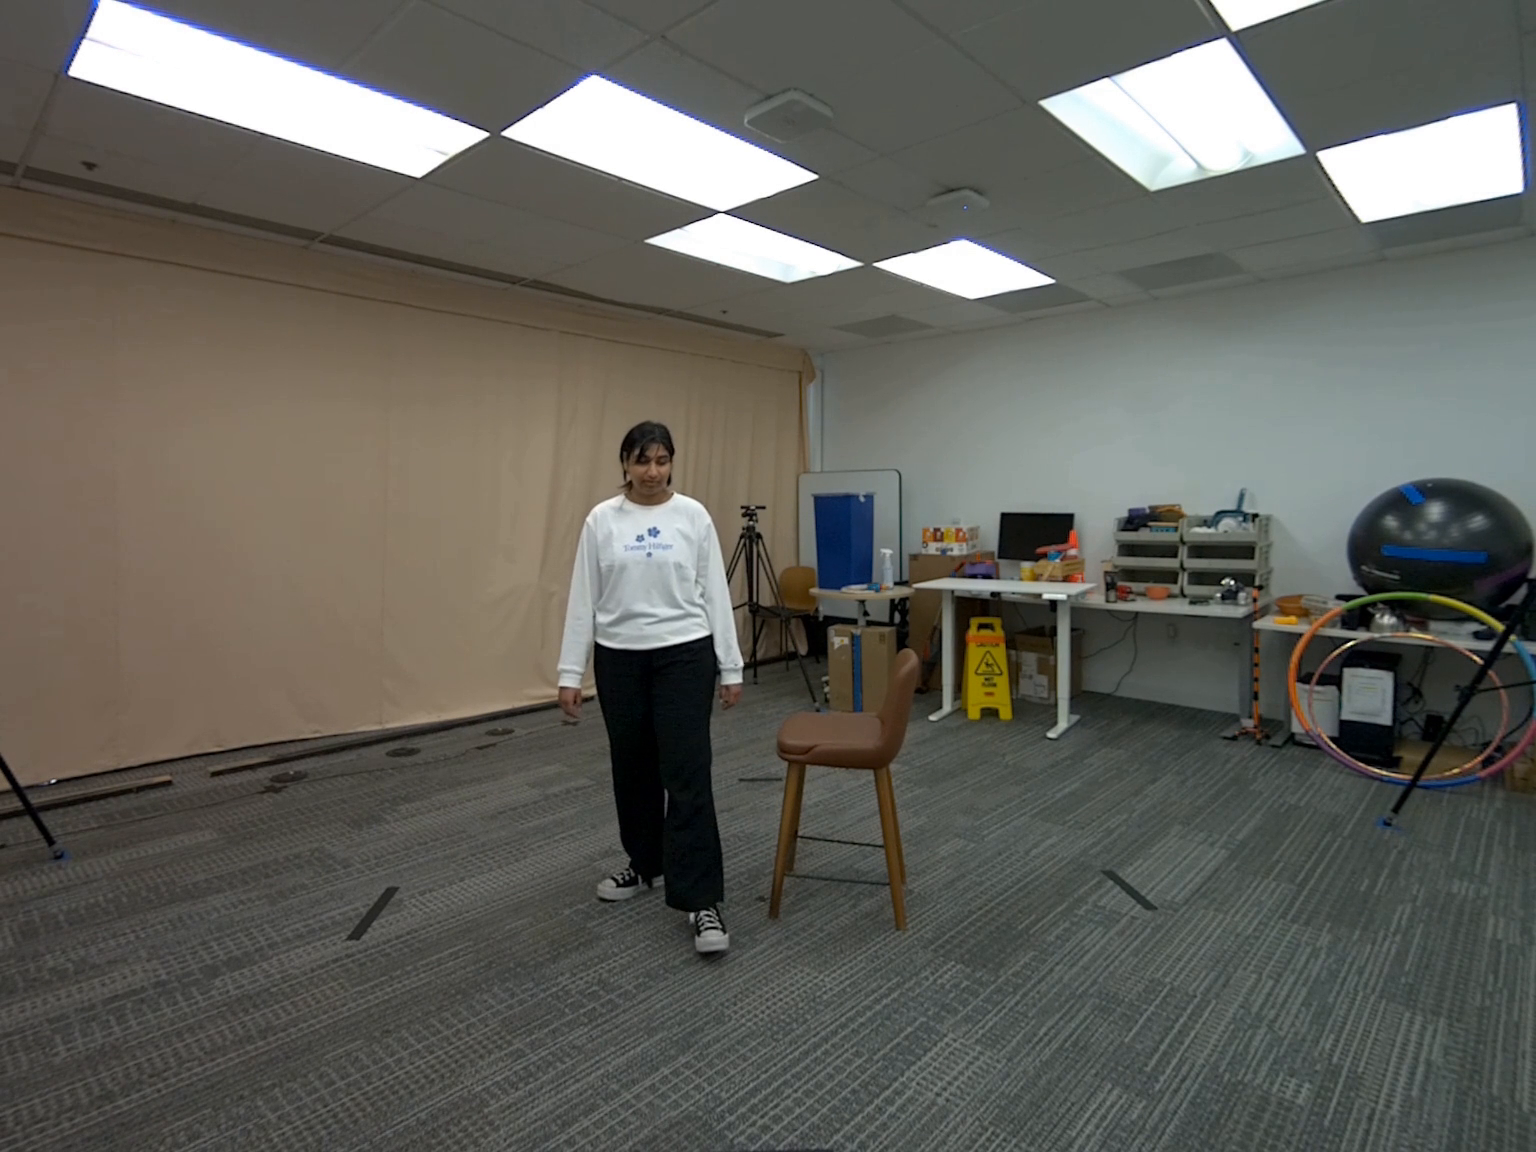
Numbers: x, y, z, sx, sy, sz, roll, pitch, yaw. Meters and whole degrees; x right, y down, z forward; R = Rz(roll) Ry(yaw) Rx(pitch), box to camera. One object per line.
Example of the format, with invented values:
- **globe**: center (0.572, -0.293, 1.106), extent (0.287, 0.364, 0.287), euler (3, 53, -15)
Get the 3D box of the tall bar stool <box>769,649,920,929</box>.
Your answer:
- **tall bar stool**: center (0.272, 0.711, 2.958), extent (0.474, 0.888, 0.451), euler (2, 4, 12)
